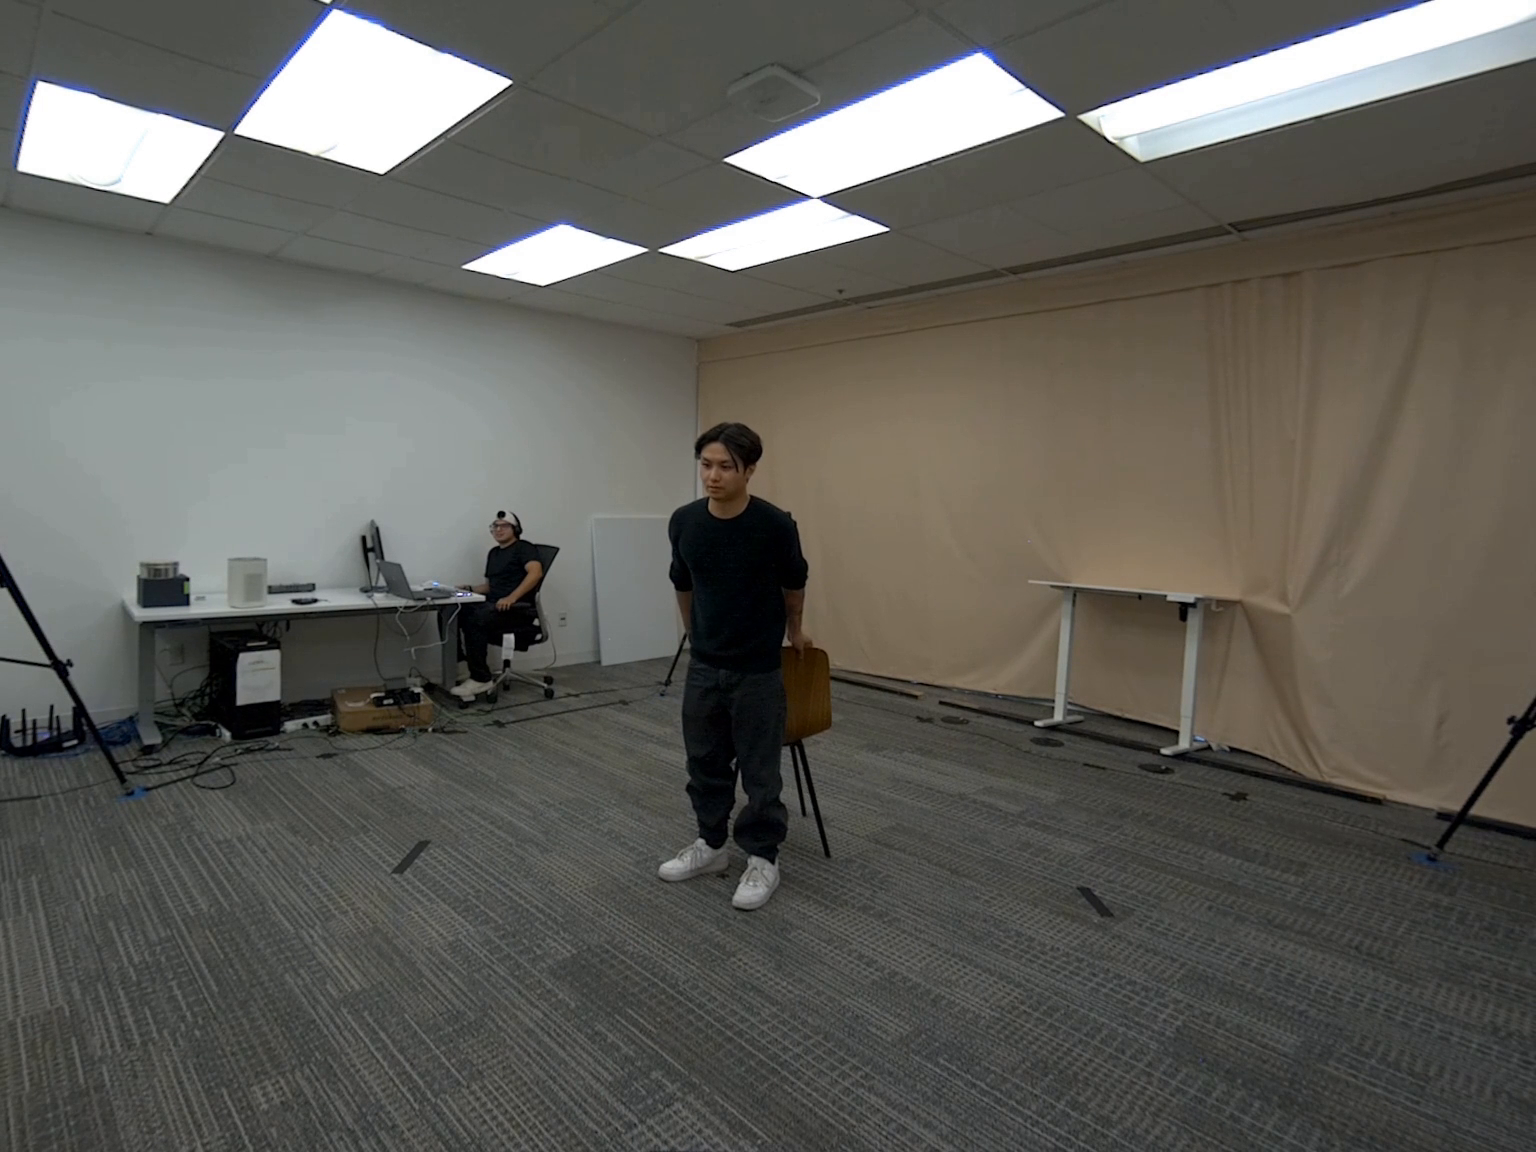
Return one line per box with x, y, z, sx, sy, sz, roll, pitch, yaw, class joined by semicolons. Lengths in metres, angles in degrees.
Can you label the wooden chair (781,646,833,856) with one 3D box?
-0.013;0.651;3.457;0.474;0.873;0.530;0;7;-10;wooden chair
